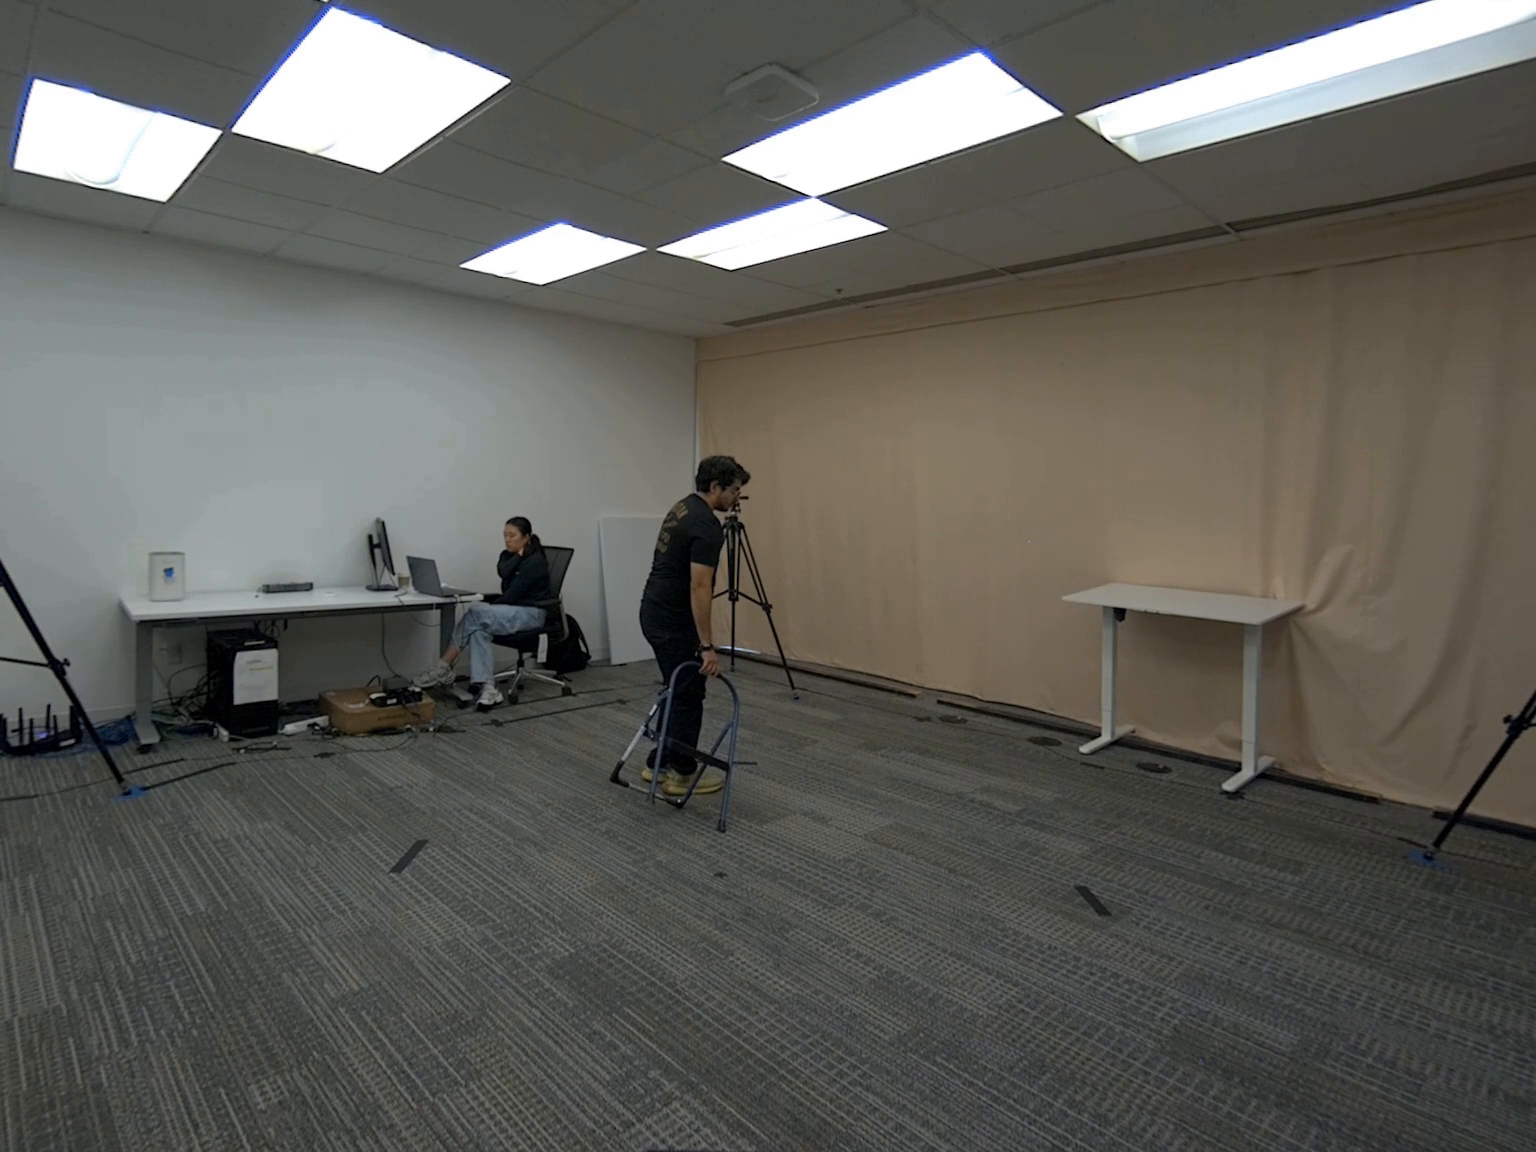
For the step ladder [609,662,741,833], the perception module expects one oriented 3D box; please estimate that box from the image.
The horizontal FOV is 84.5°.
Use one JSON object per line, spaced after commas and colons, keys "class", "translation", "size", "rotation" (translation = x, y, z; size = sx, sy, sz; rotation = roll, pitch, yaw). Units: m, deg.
{"class": "step ladder", "translation": [-0.325, 0.696, 3.609], "size": [0.418, 0.609, 0.358], "rotation": [34, -18, -36]}
